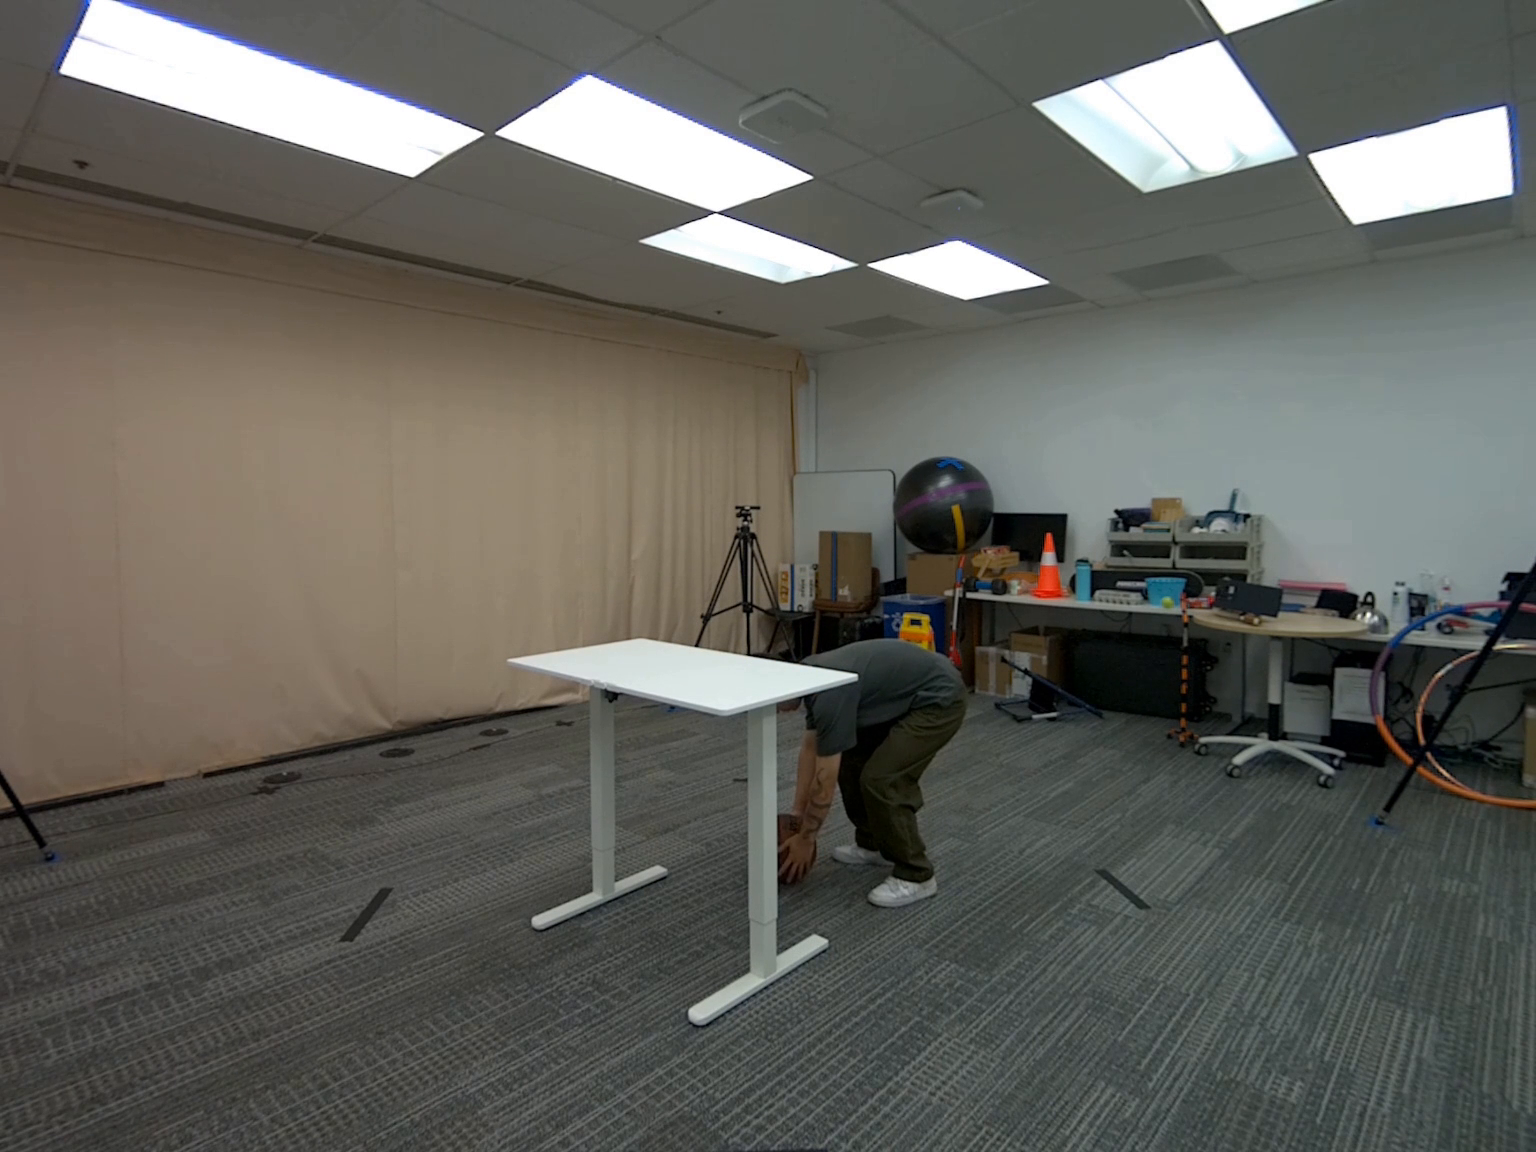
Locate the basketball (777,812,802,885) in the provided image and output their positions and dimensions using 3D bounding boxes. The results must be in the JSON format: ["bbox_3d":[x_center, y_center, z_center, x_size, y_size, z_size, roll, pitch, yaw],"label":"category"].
[{"bbox_3d":[0.065,1.011,3.135,0.236,0.235,0.237,0,4,-2],"label":"basketball"}]
